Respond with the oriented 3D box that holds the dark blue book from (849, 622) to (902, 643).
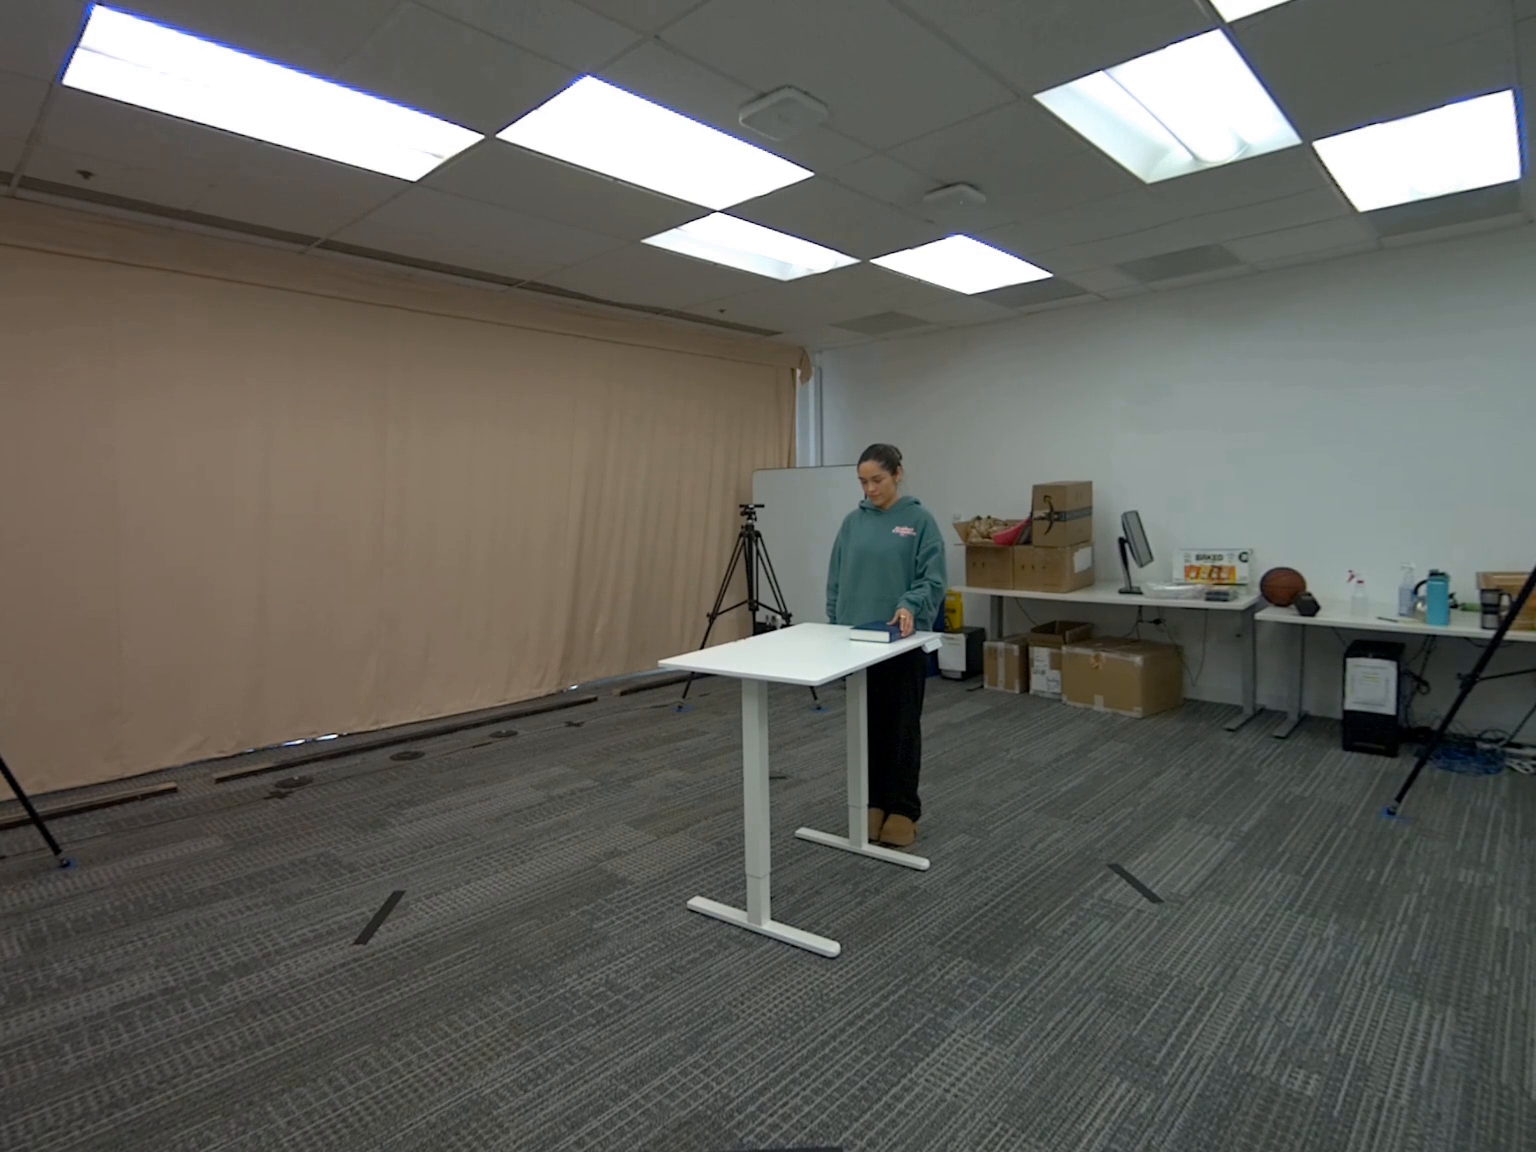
[{"bbox_3d":[0.434,0.213,3.174,0.168,0.045,0.238,3,5,31],"label":"dark blue book"}]
